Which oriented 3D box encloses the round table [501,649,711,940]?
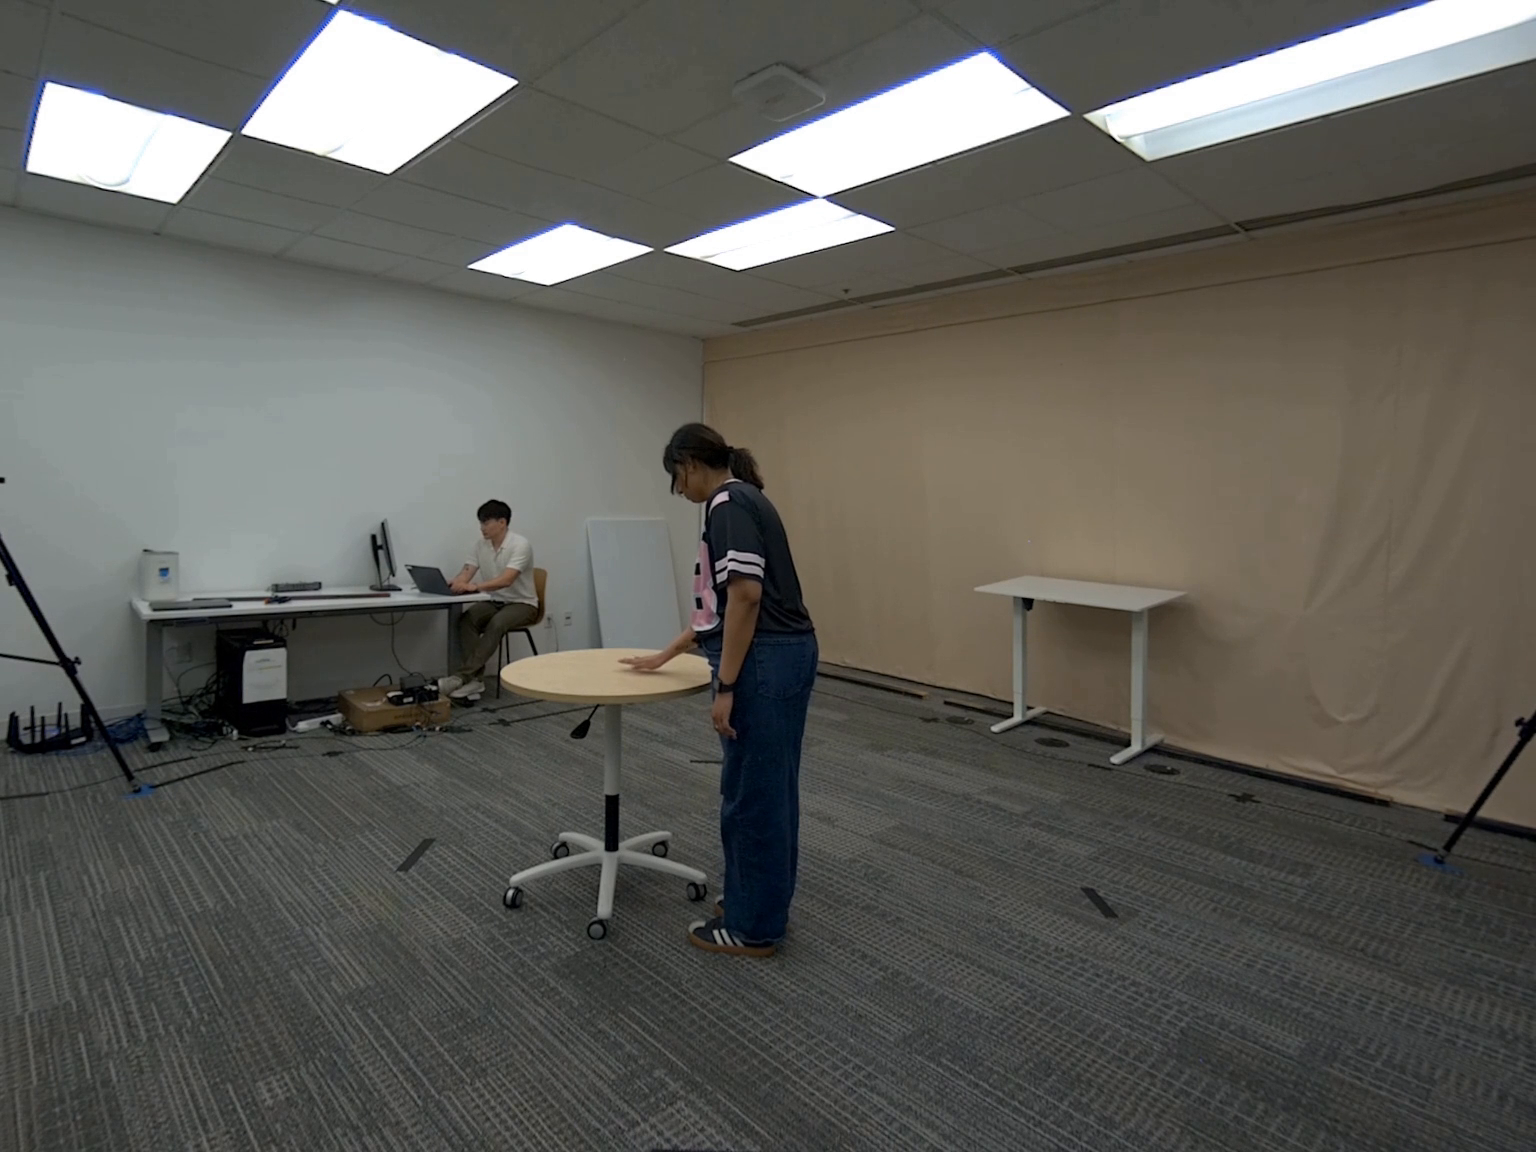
[{"bbox_3d":[-0.558,0.717,2.948,0.784,0.784,0.788,1,4,-1],"label":"round table"}]
